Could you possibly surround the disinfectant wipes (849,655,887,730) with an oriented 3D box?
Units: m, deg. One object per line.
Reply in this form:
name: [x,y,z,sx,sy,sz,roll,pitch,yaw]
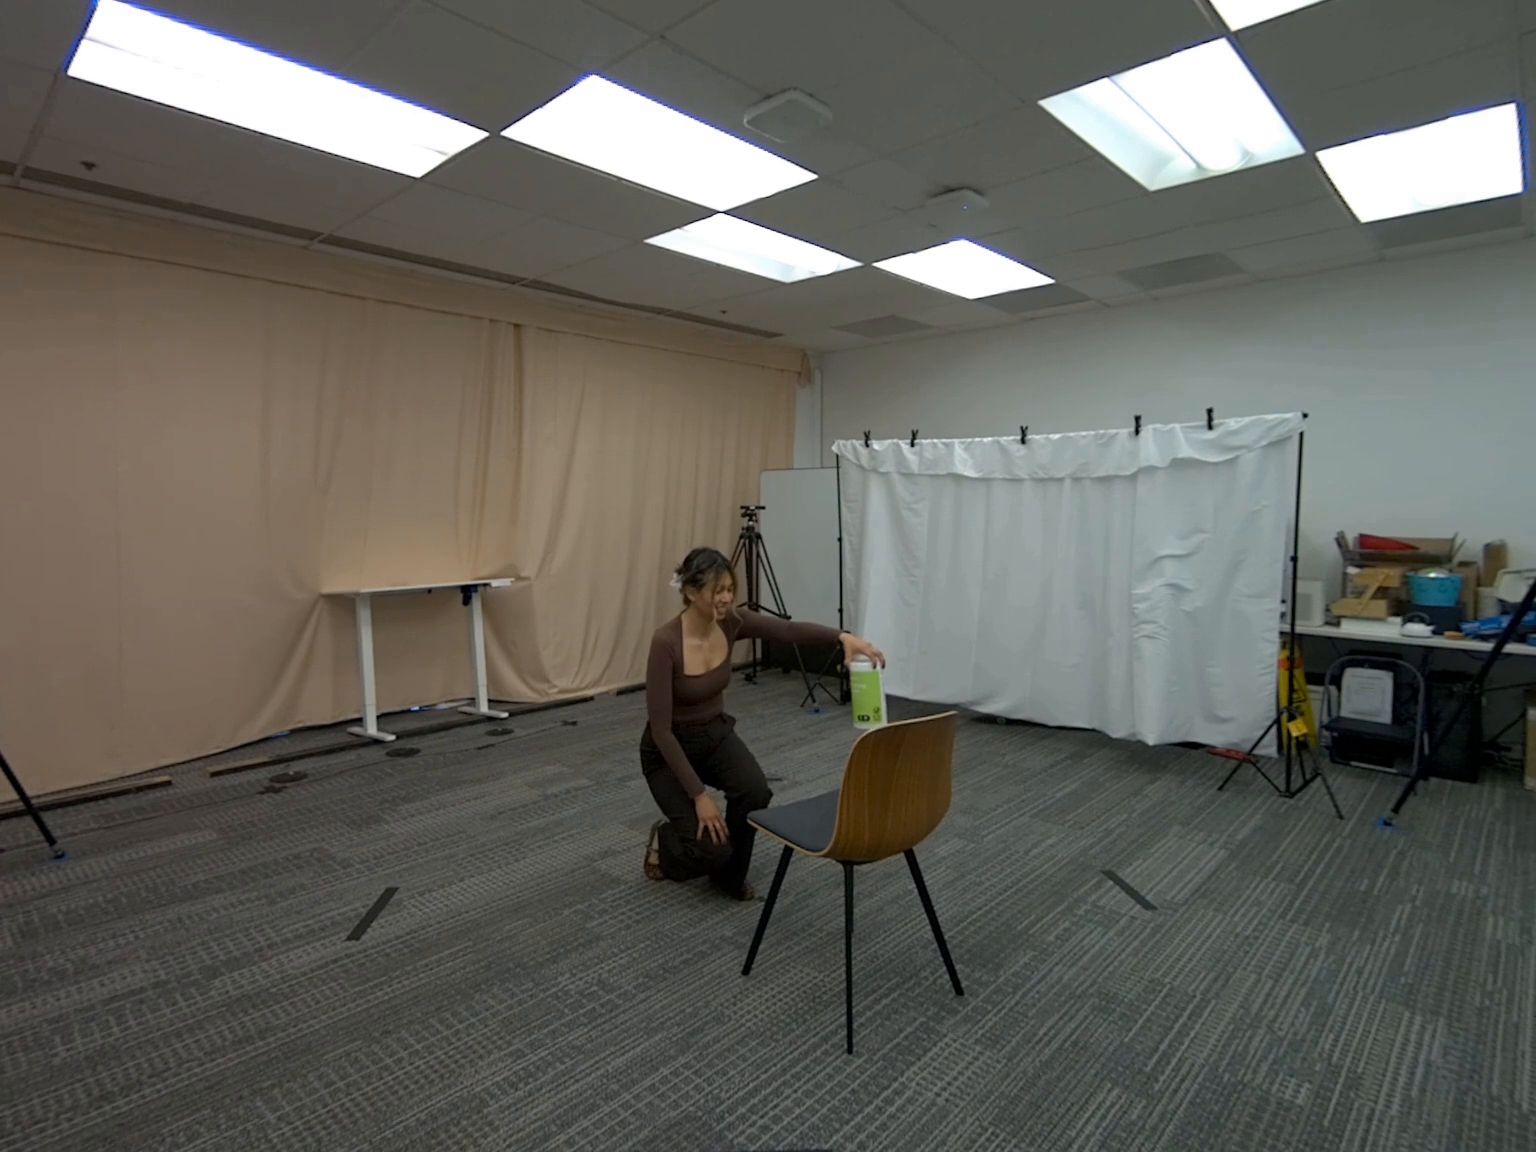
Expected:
disinfectant wipes: [0.328,0.384,2.730,0.118,0.217,0.118,-4,-1,-2]
